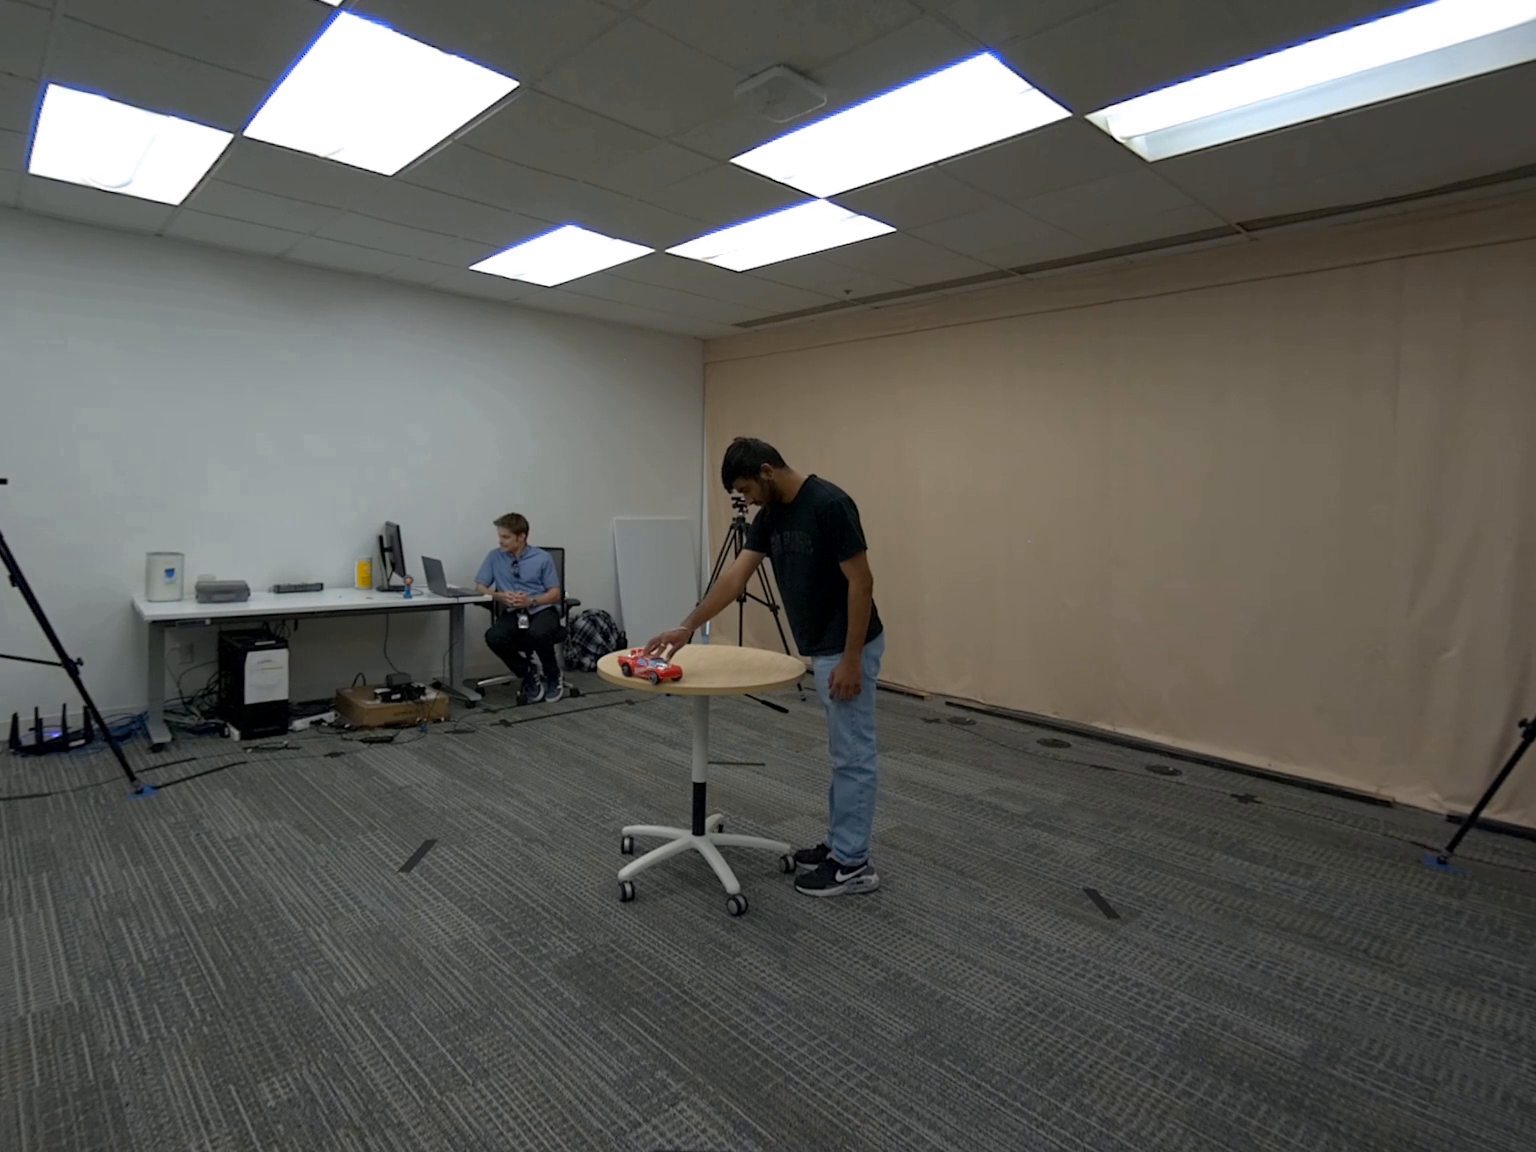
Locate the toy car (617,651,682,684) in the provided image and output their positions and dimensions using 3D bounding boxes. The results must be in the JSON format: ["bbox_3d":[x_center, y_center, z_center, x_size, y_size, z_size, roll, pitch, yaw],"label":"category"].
[{"bbox_3d":[-0.408,0.310,2.845,0.262,0.082,0.127,21,17,42],"label":"toy car"}]
